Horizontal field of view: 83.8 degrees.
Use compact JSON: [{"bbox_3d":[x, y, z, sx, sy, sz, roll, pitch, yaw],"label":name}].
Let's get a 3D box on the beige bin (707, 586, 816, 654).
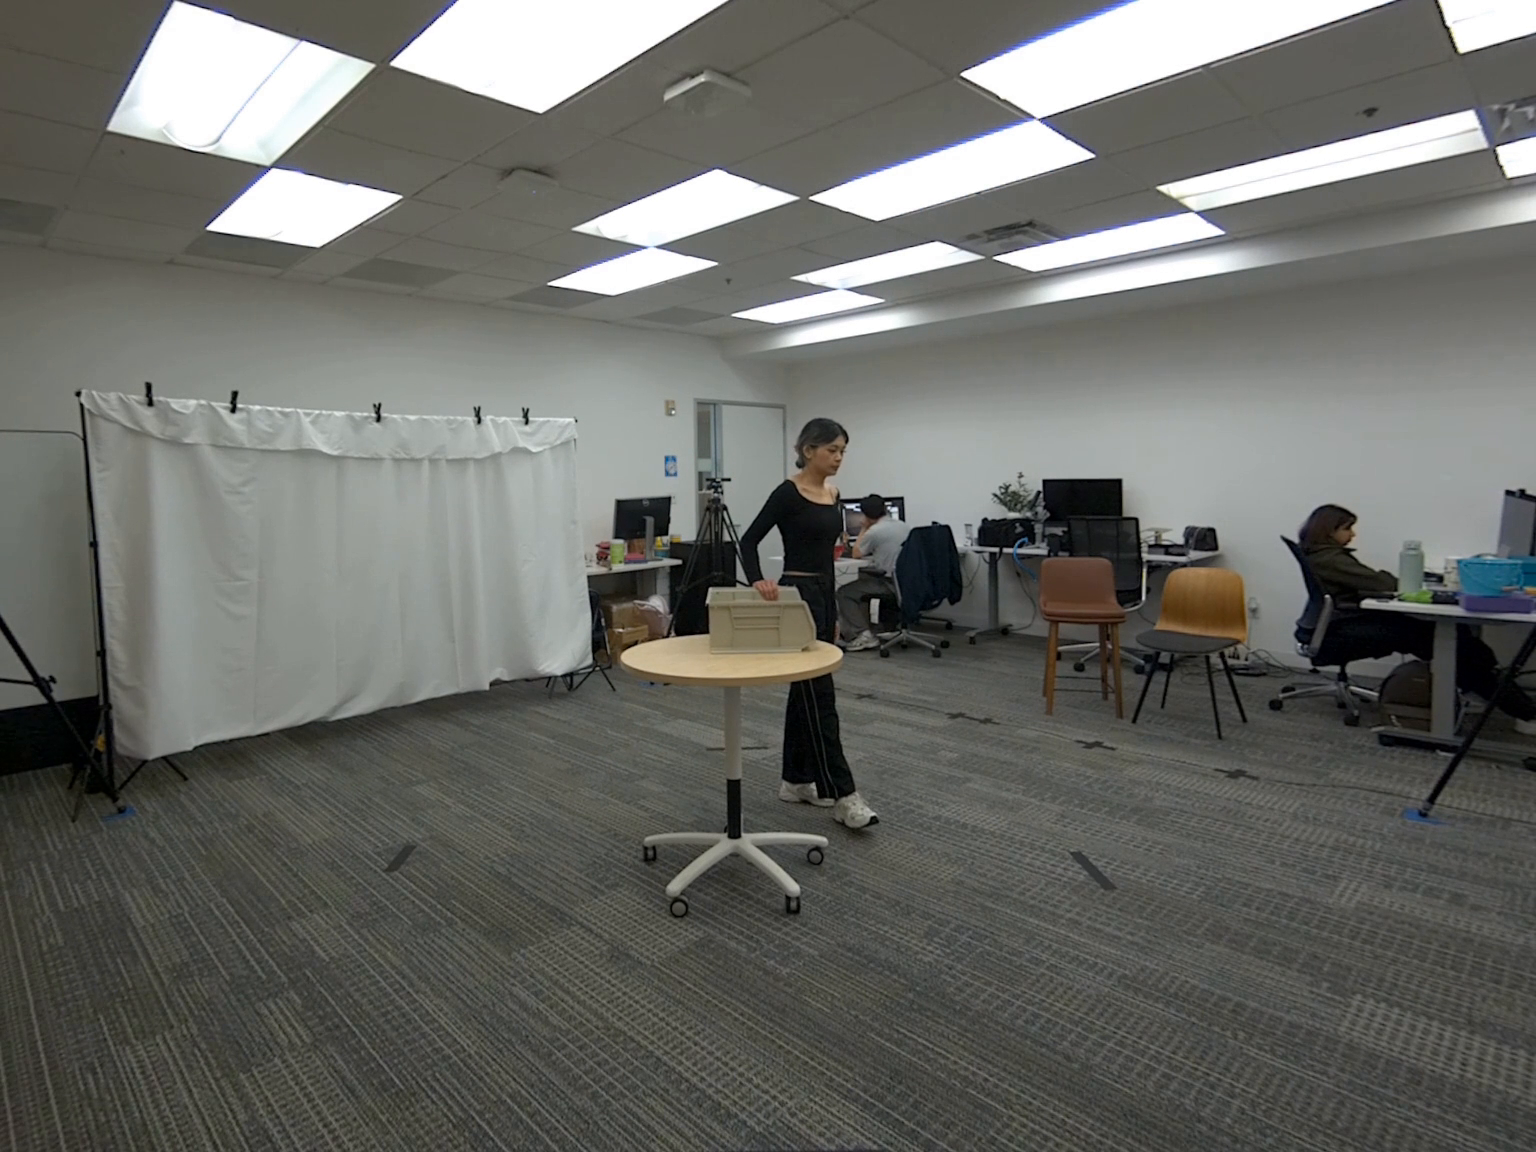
[{"bbox_3d":[-0.020,0.155,3.148,0.377,0.188,0.425,-3,6,-2],"label":"beige bin"}]
